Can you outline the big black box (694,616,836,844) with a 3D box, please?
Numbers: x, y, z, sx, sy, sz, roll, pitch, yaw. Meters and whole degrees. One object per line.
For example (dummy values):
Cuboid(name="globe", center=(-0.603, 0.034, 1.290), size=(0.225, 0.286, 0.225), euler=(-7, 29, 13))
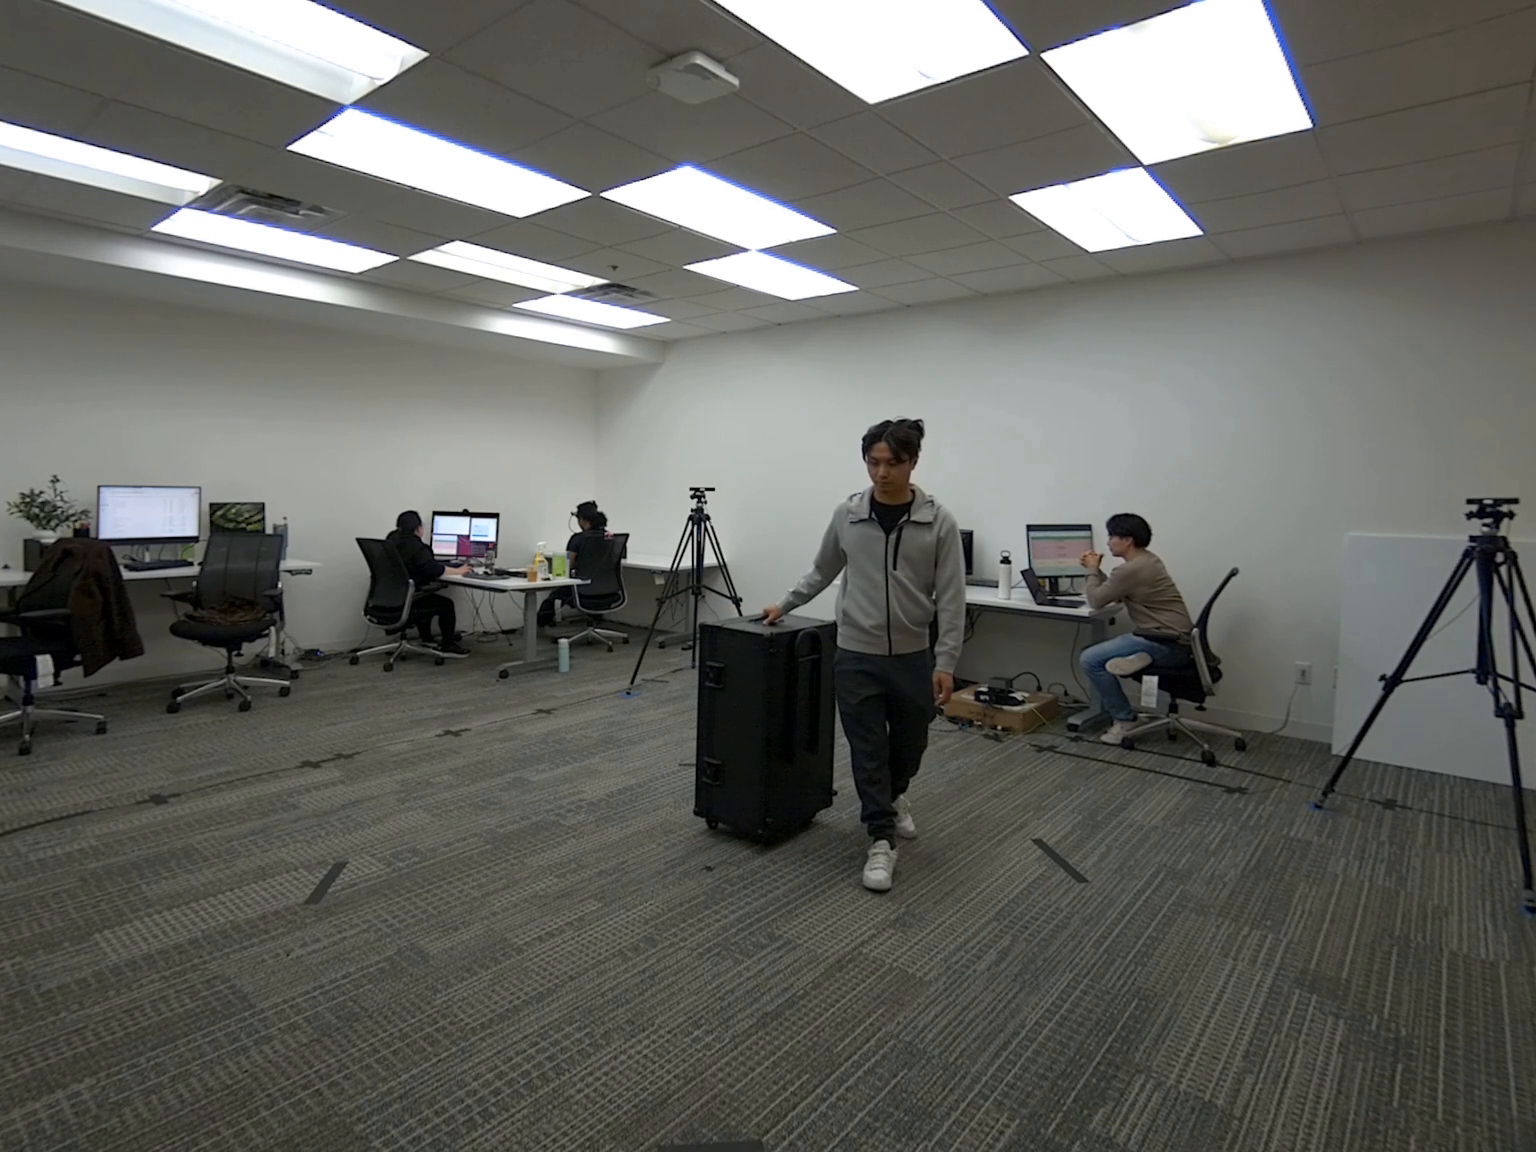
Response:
Cuboid(name="big black box", center=(-0.006, 0.611, 3.485), size=(0.410, 0.858, 0.506), euler=(5, 5, 39))
